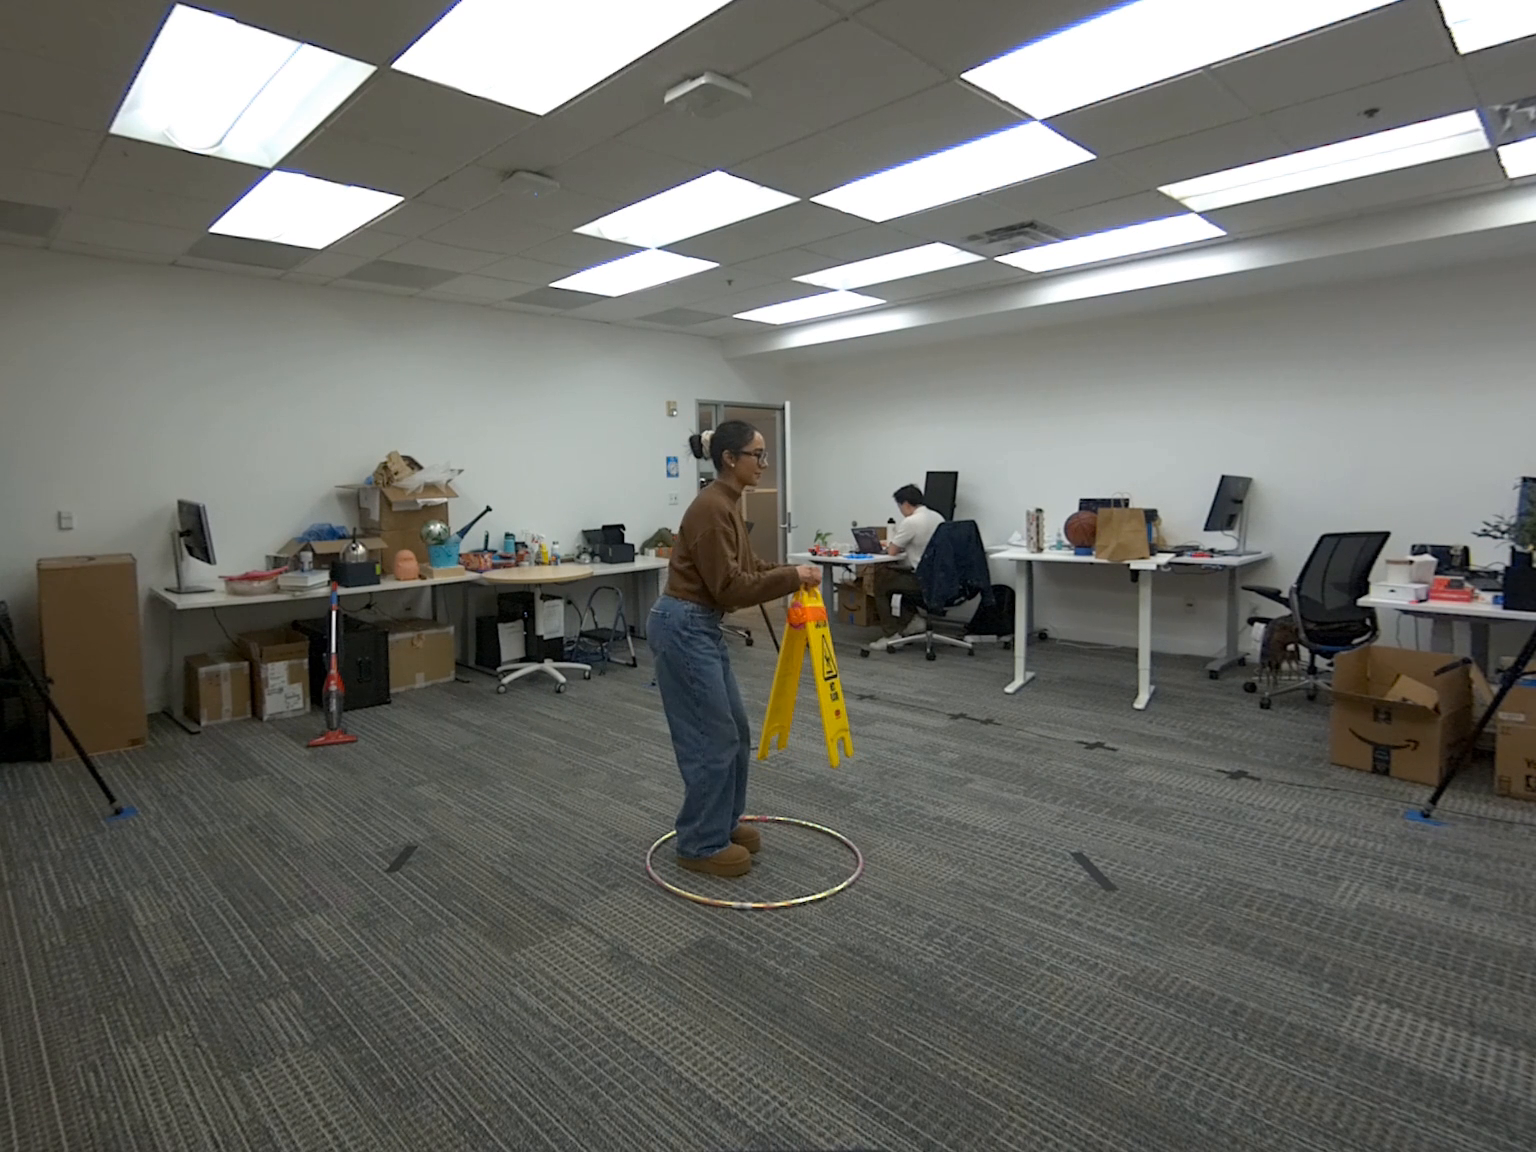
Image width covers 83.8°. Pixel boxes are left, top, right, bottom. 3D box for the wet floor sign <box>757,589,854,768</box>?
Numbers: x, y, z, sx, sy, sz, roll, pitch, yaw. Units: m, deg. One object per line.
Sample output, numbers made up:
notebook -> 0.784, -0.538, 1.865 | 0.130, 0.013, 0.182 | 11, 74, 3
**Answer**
wet floor sign -> 0.142, 0.321, 3.057 | 0.295, 0.648, 0.276 | 0, -3, 21
